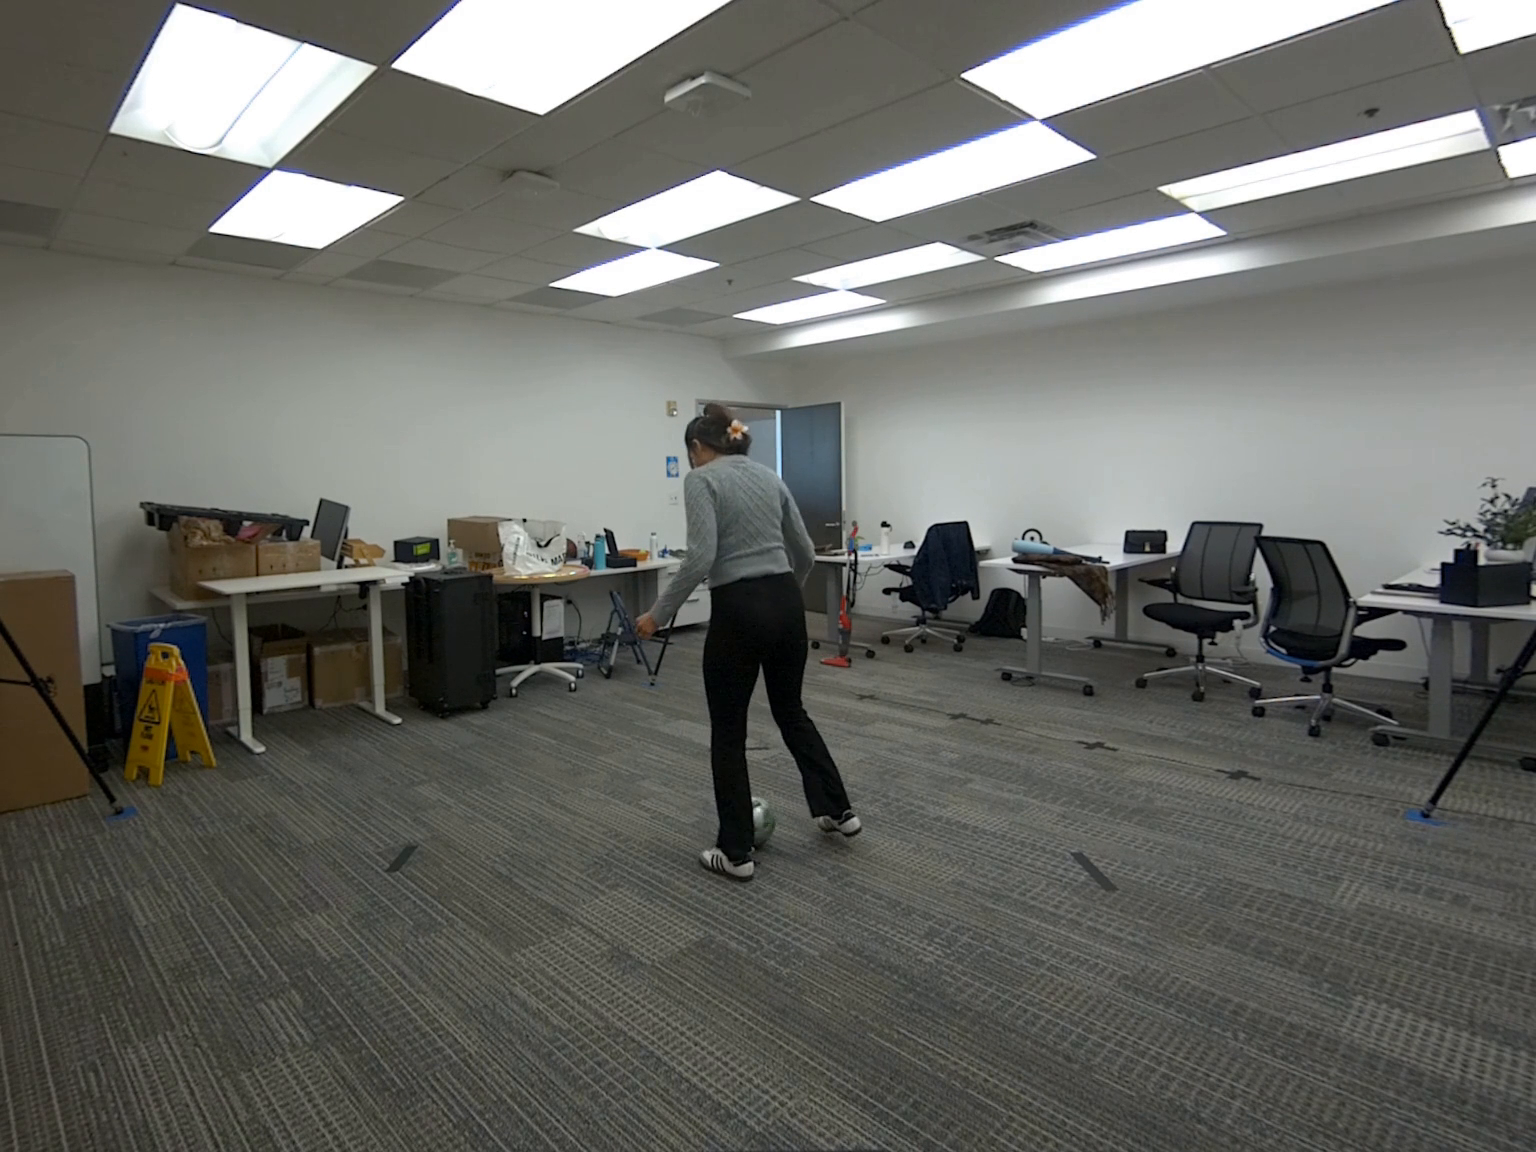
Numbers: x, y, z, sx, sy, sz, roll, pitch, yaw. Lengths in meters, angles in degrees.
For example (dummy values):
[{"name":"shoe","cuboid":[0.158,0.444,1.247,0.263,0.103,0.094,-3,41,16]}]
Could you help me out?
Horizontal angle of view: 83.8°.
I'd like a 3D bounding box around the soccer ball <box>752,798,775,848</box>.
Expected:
[{"name":"soccer ball","cuboid":[-0.067,0.938,3.249,0.187,0.187,0.188,-1,5,-2]}]
